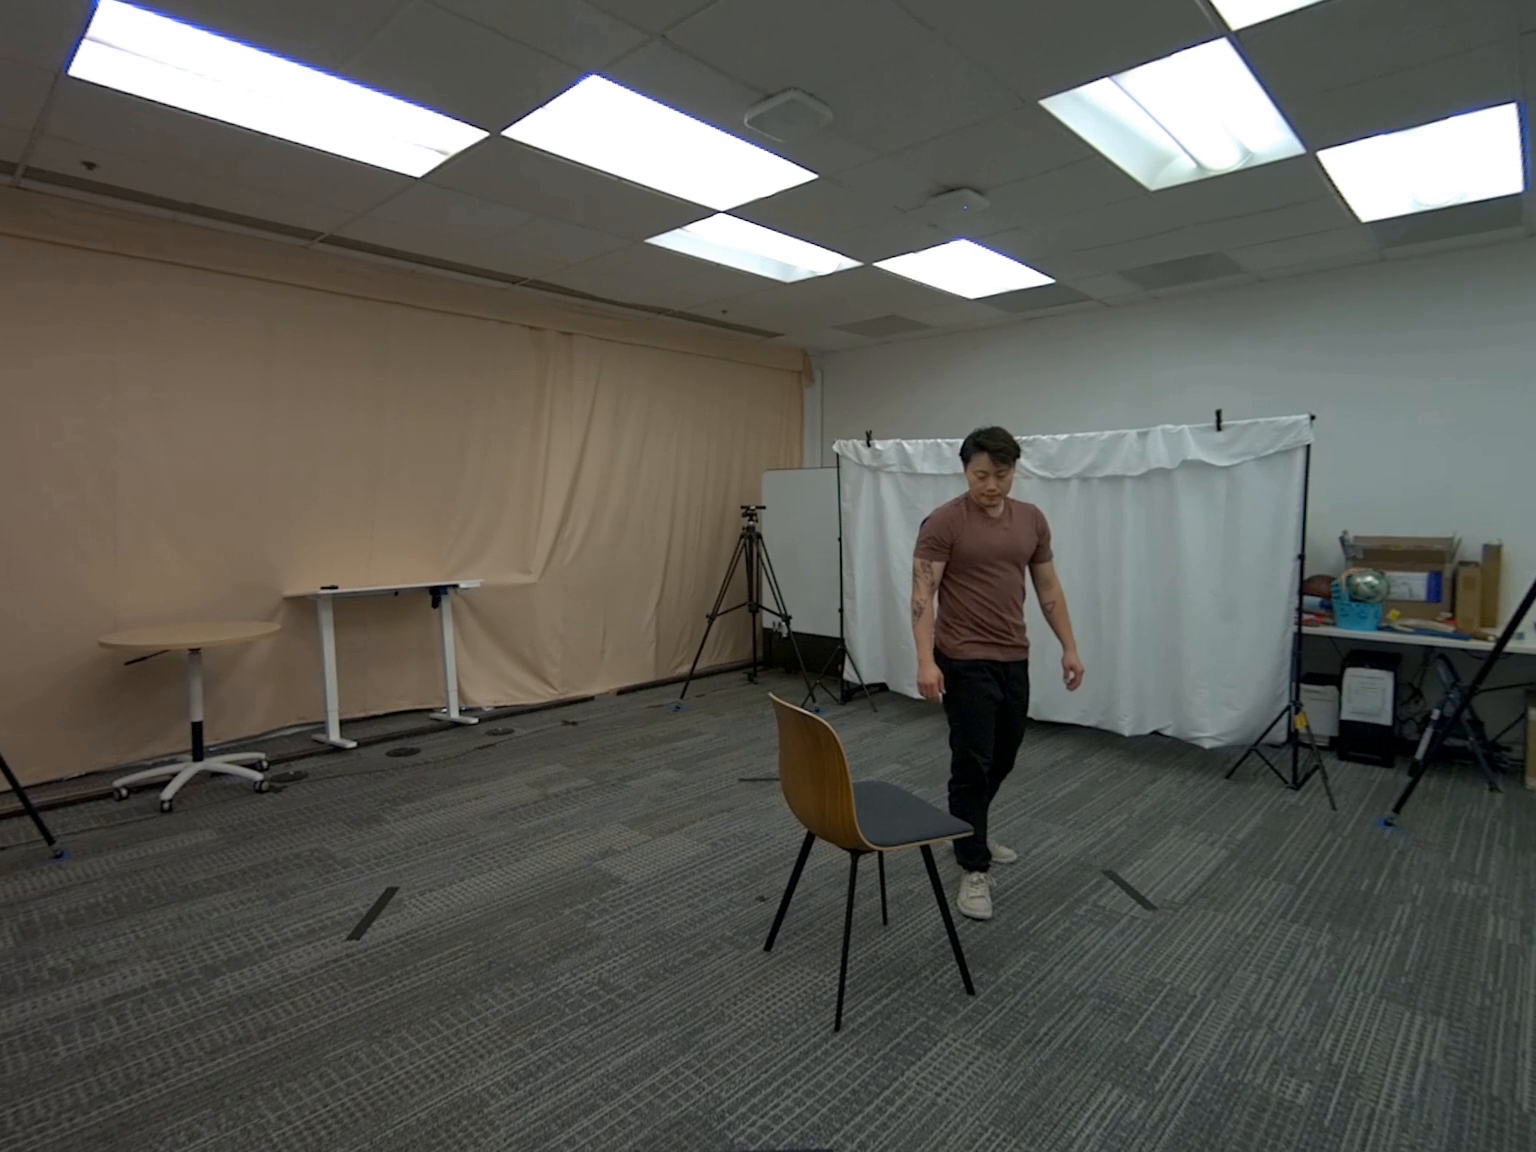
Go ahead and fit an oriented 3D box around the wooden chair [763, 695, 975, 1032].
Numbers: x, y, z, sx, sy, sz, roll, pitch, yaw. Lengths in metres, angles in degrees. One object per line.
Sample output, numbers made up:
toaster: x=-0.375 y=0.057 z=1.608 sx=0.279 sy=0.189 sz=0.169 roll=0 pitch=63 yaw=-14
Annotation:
wooden chair: x=0.300 y=0.757 z=2.494 sx=0.512 sy=0.874 sz=0.490 roll=-6 pitch=5 yaw=-24
